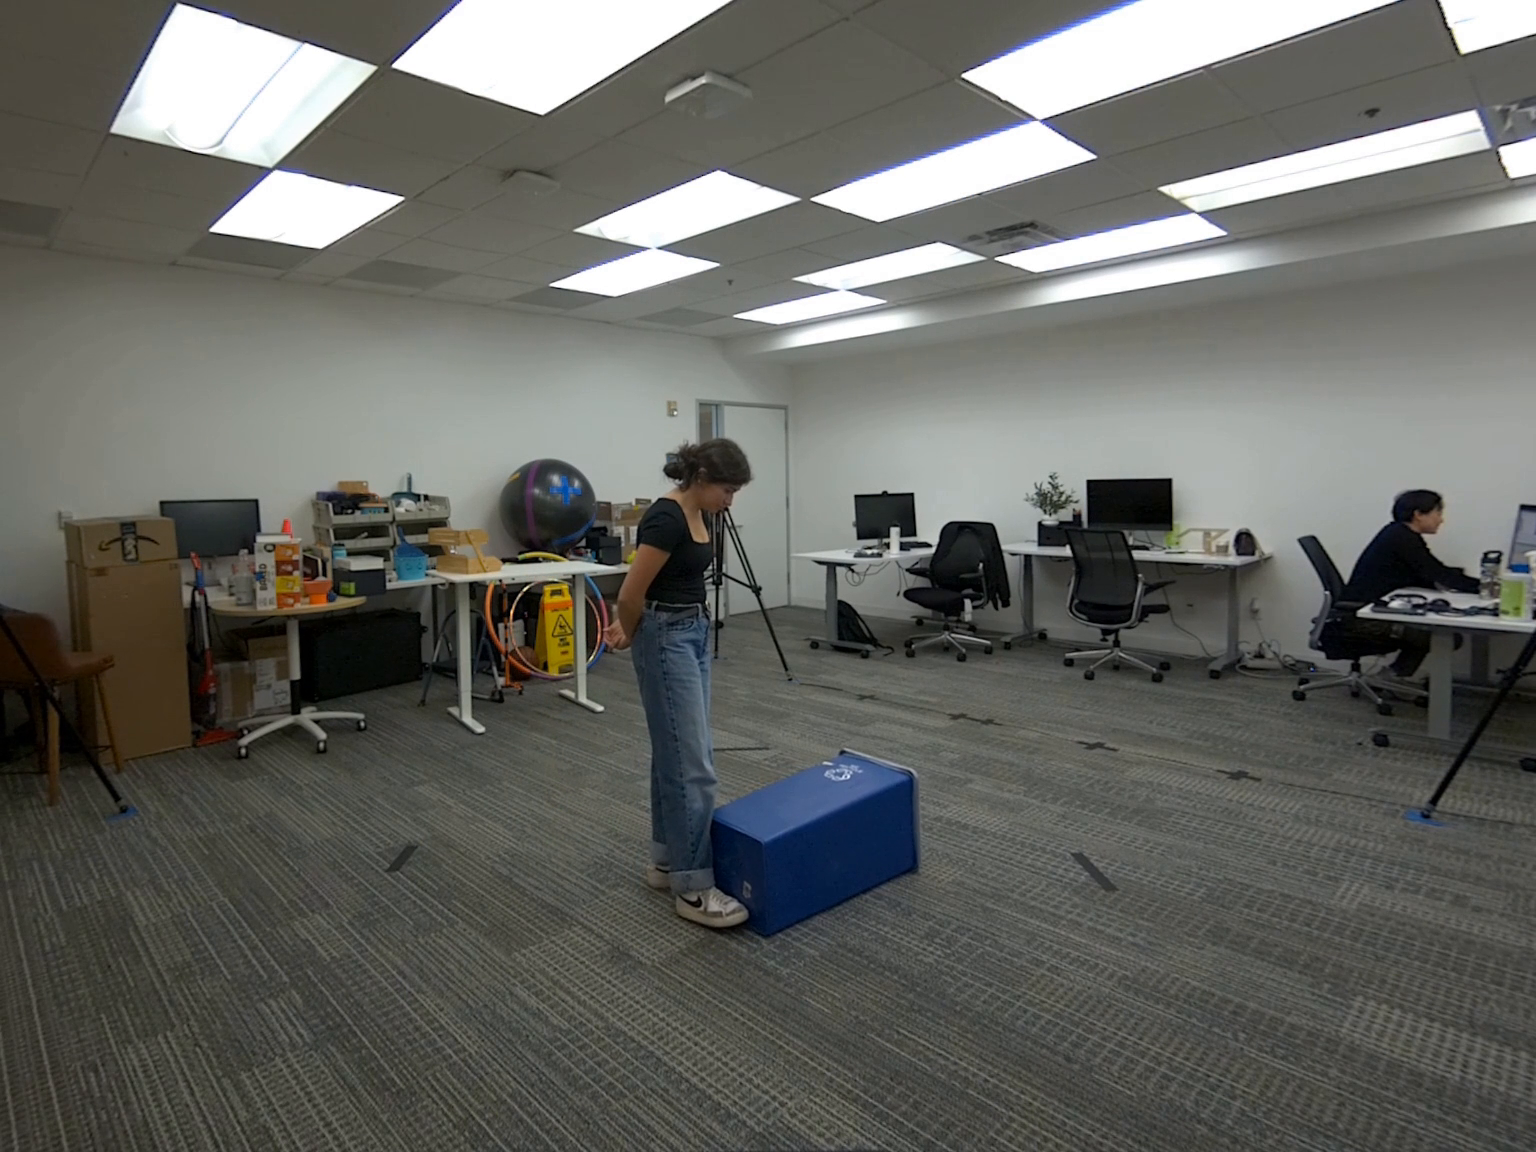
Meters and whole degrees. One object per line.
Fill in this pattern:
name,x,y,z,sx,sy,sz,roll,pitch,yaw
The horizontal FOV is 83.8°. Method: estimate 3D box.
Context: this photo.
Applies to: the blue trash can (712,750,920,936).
blue trash can,0.159,0.896,2.913,0.696,0.376,0.385,-10,10,-41
